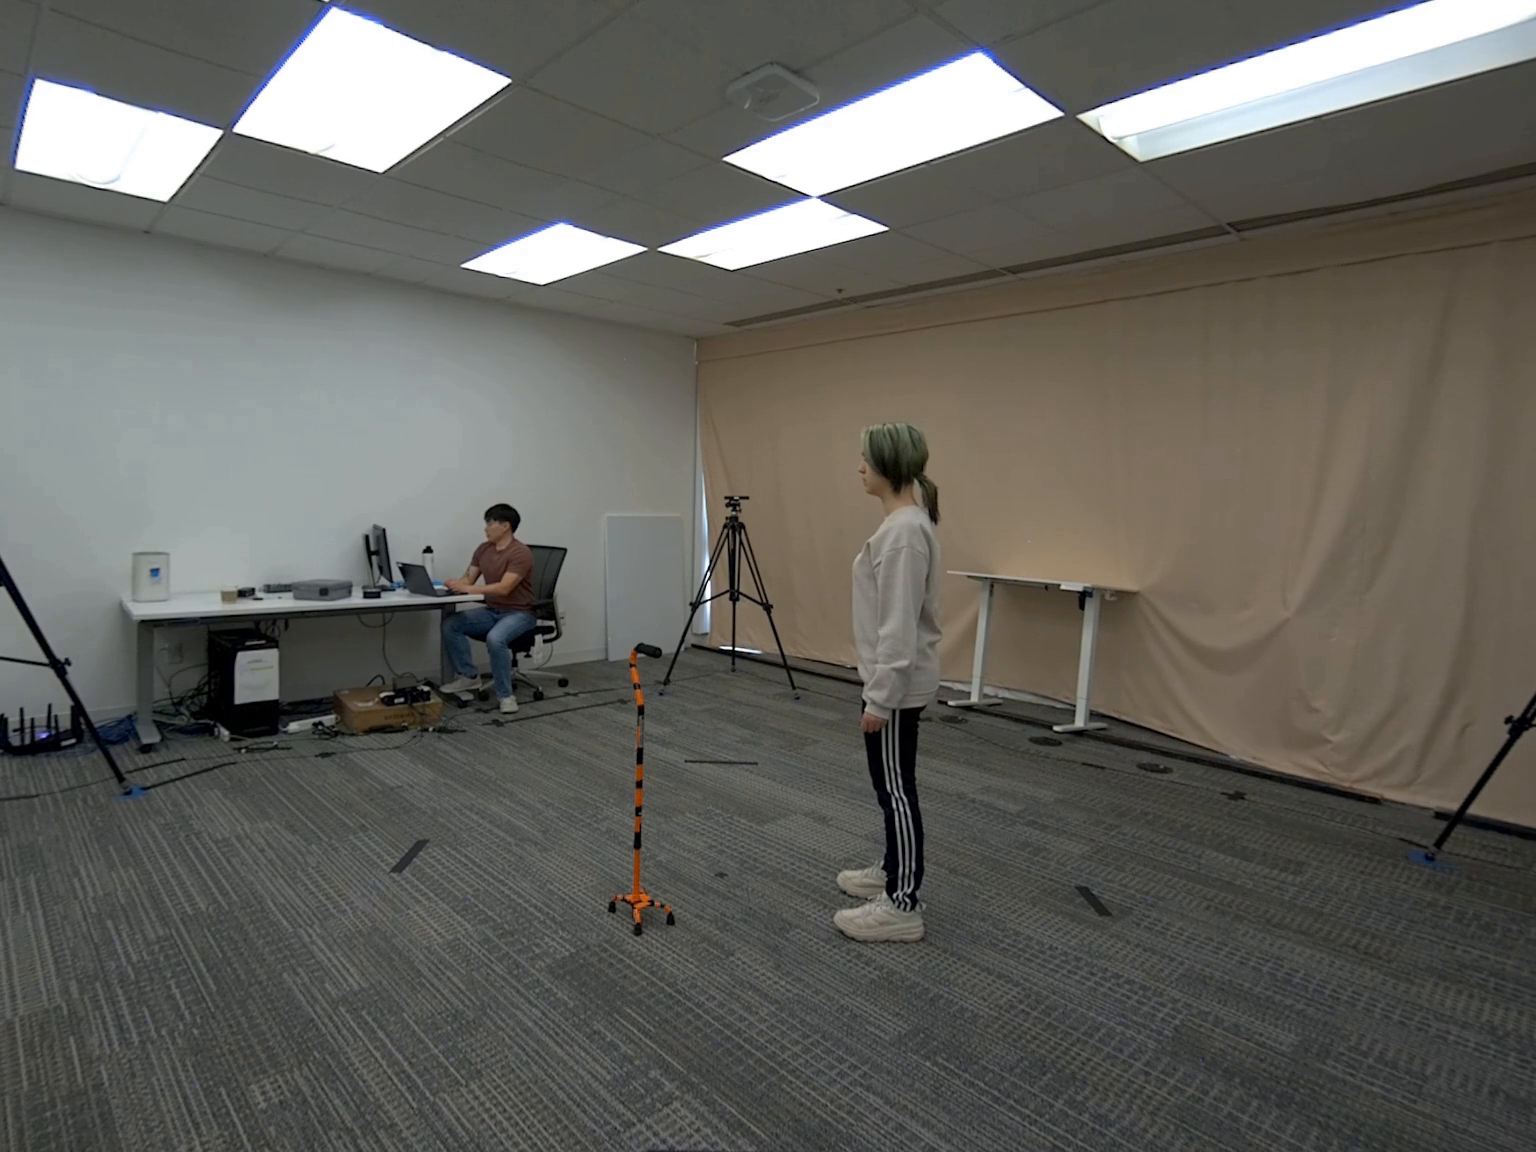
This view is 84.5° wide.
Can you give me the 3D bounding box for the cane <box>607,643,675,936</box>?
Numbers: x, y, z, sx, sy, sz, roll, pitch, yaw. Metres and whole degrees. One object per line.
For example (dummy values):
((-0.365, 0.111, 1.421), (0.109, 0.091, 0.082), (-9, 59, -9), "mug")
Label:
((-0.411, 0.672, 2.759), (0.148, 0.906, 0.211), (0, 3, -37), "cane")
